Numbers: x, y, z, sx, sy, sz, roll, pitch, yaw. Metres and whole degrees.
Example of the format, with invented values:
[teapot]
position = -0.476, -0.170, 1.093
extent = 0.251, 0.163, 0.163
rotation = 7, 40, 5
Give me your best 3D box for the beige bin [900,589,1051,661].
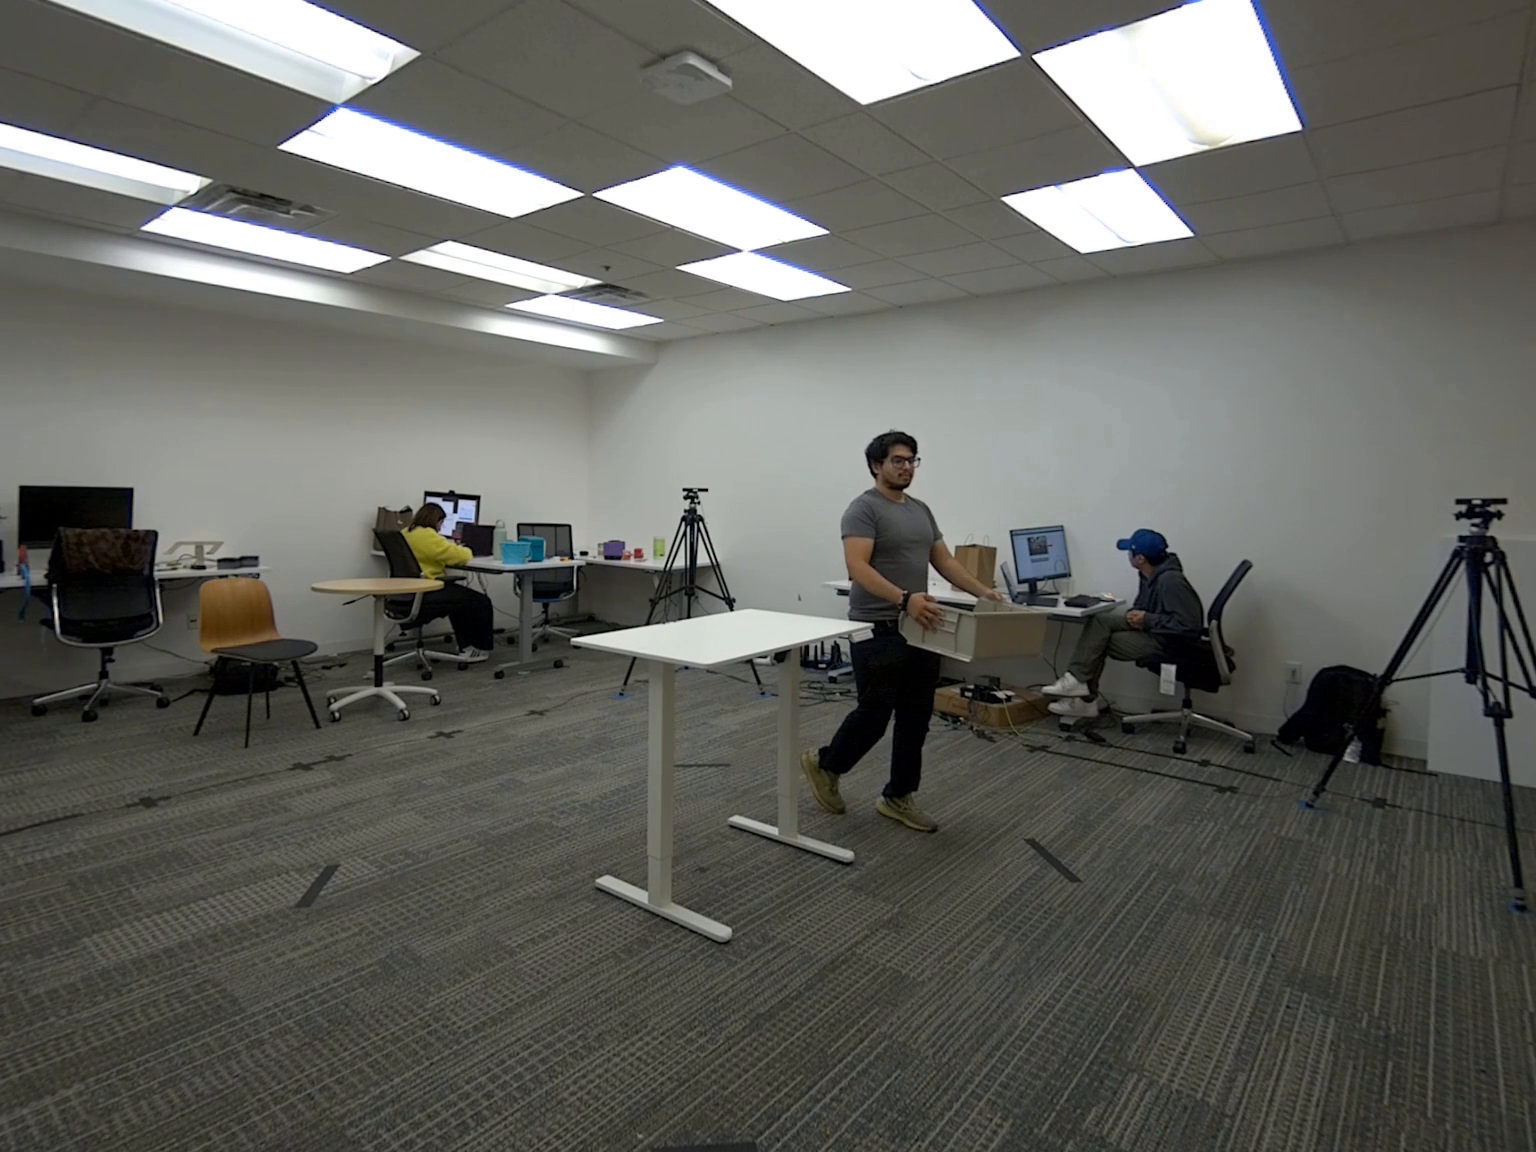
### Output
[beige bin]
position = 0.790, 0.182, 3.275
extent = 0.409, 0.188, 0.391
rotation = 3, 8, -36
